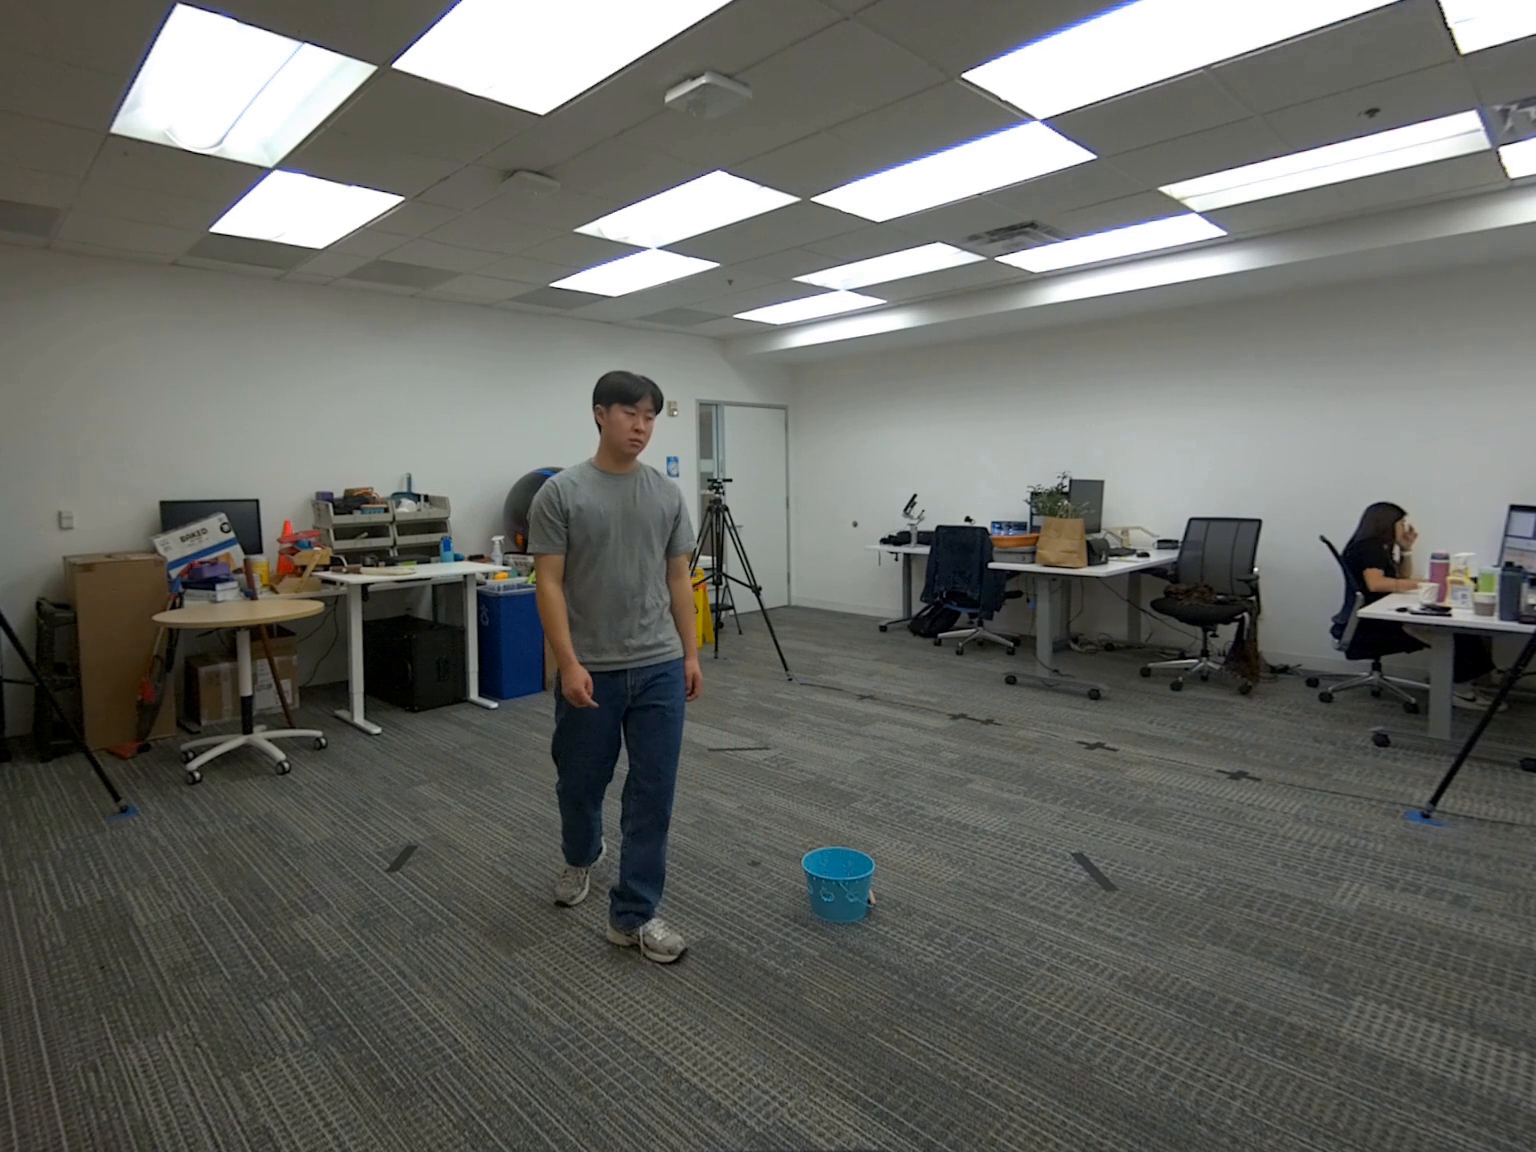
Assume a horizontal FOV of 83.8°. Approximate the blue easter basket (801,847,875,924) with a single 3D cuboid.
[{"bbox_3d":[0.234,0.999,2.762,0.243,0.155,0.245,-1,5,-2],"label":"blue easter basket"}]
